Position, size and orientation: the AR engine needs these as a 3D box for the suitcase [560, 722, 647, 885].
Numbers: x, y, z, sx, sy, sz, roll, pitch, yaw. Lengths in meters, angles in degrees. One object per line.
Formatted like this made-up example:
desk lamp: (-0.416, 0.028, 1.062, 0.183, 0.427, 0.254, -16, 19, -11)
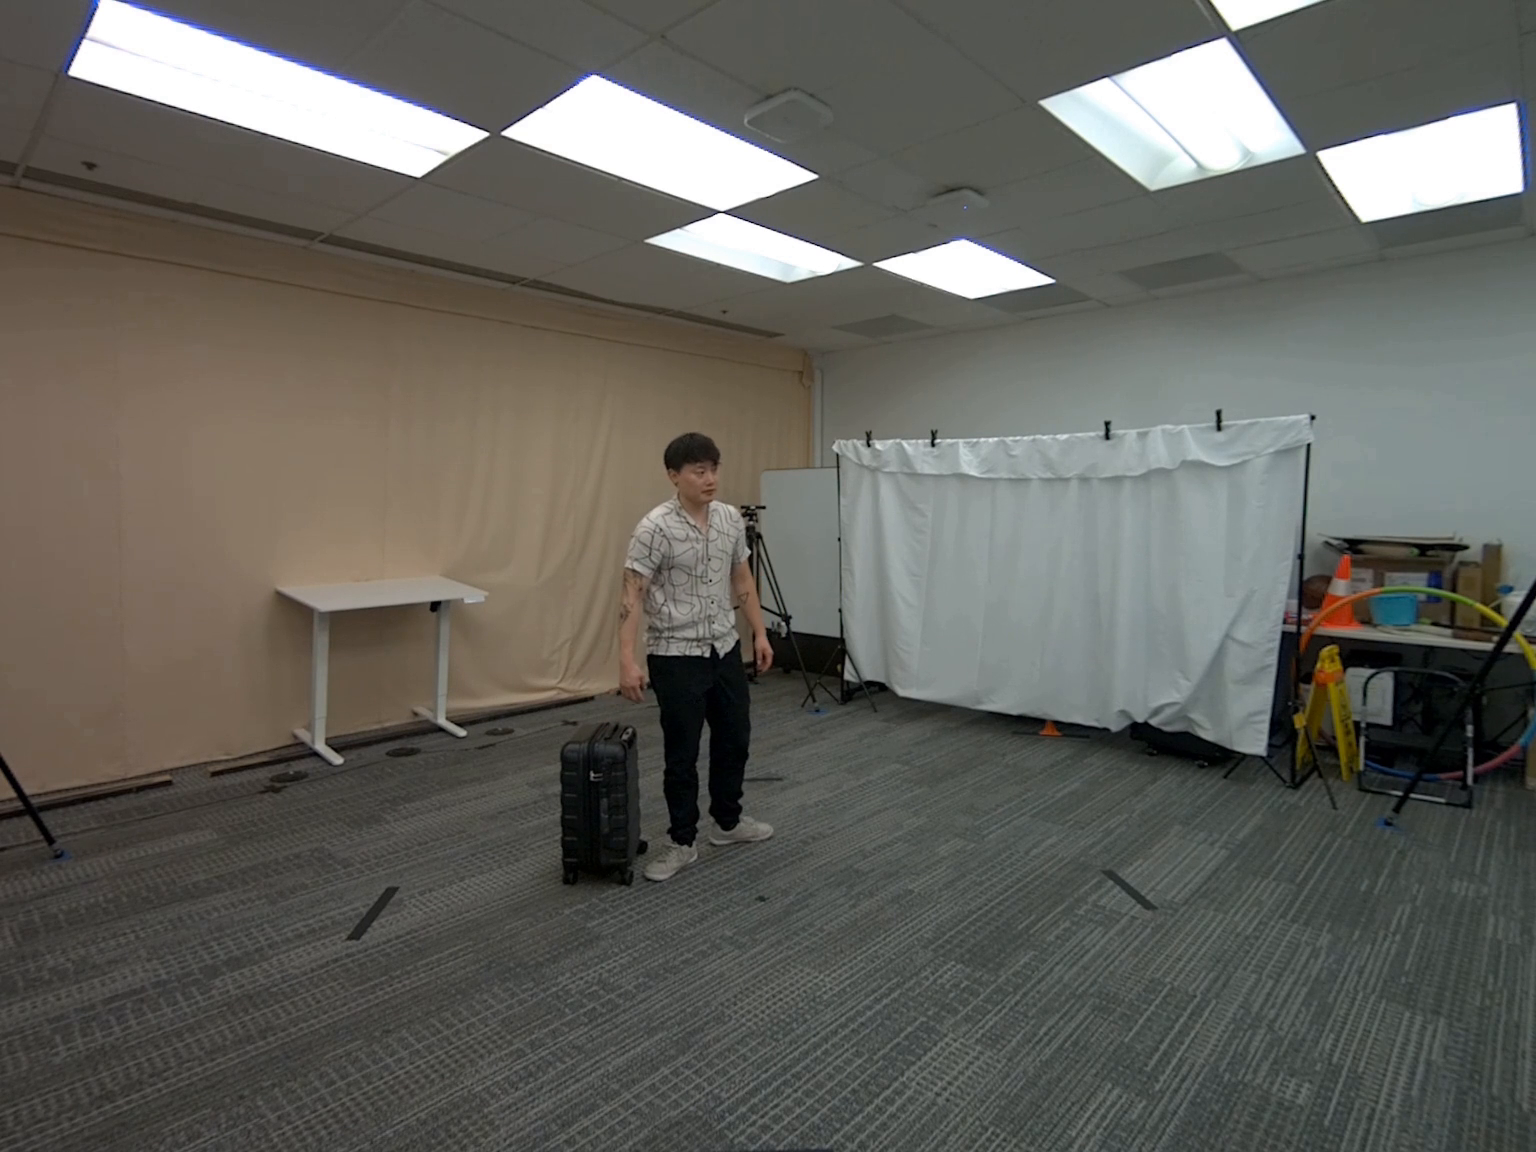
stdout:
suitcase: (-0.635, 0.854, 3.224, 0.249, 0.548, 0.376, 0, 4, 0)
